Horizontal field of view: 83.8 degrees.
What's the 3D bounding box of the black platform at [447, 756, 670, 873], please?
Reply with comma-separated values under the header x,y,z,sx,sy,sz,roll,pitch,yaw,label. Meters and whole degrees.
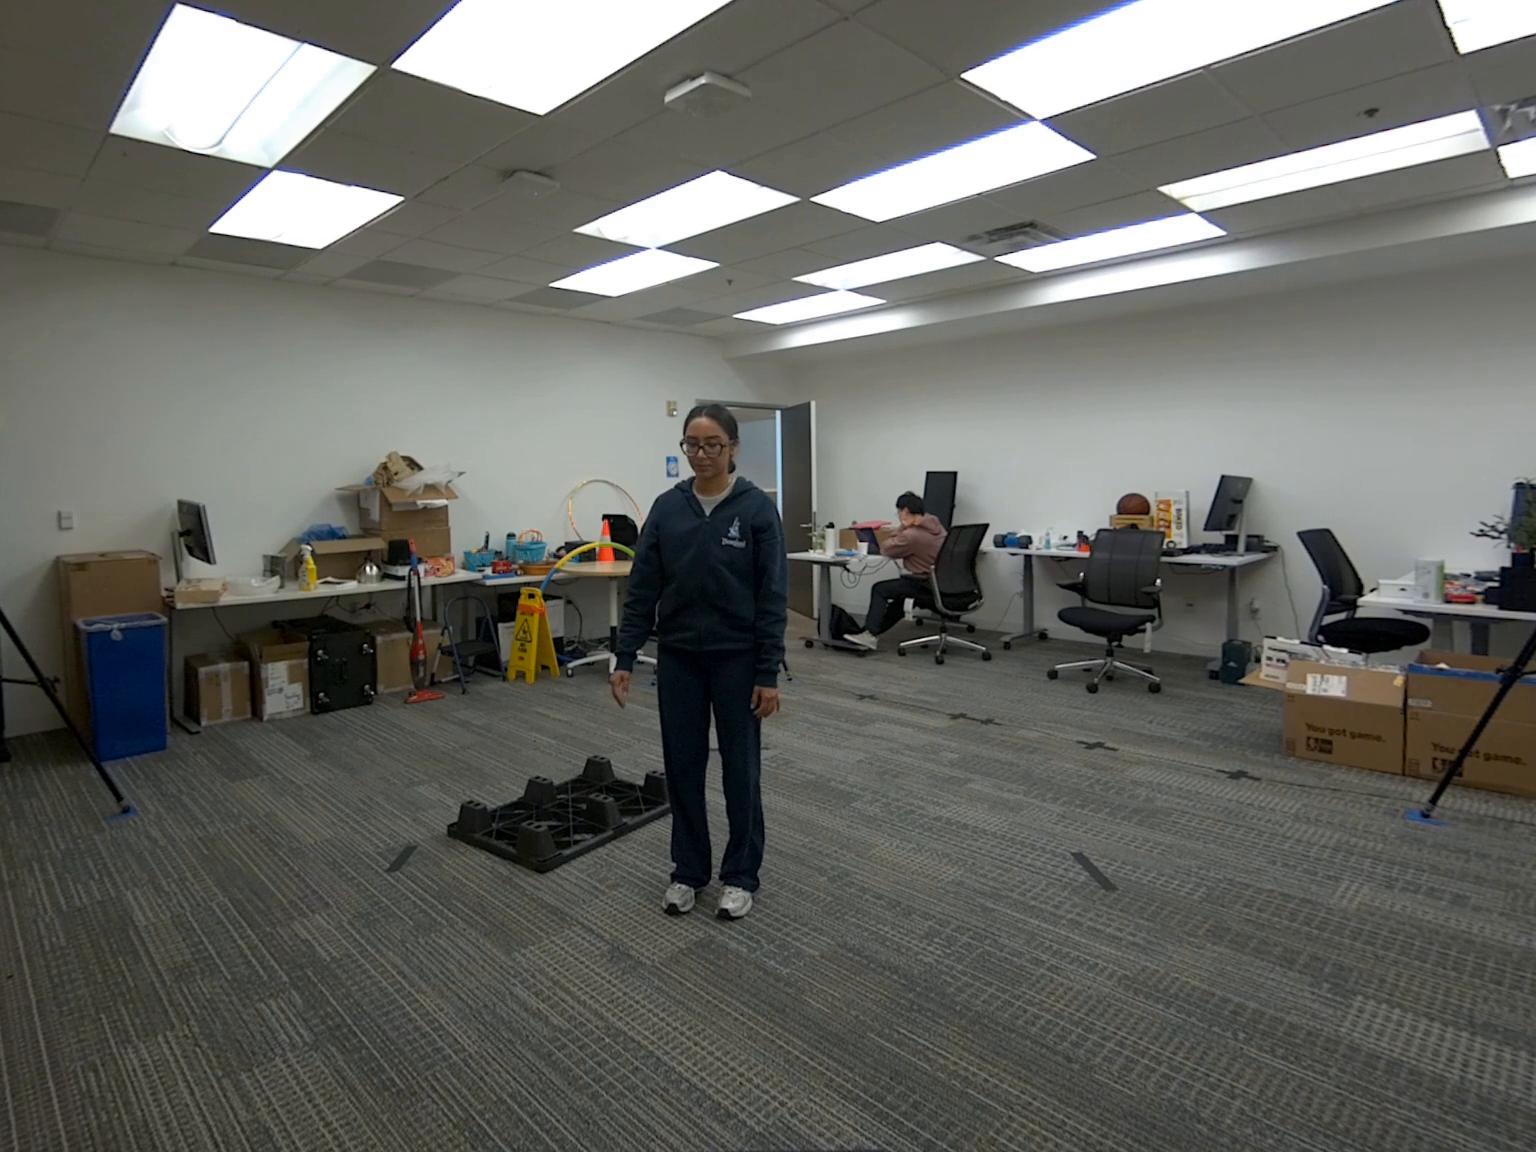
x,y,z,sx,sy,sz,roll,pitch,yaw,label
-0.813,0.945,3.536,0.623,0.143,0.786,3,7,36,black platform
